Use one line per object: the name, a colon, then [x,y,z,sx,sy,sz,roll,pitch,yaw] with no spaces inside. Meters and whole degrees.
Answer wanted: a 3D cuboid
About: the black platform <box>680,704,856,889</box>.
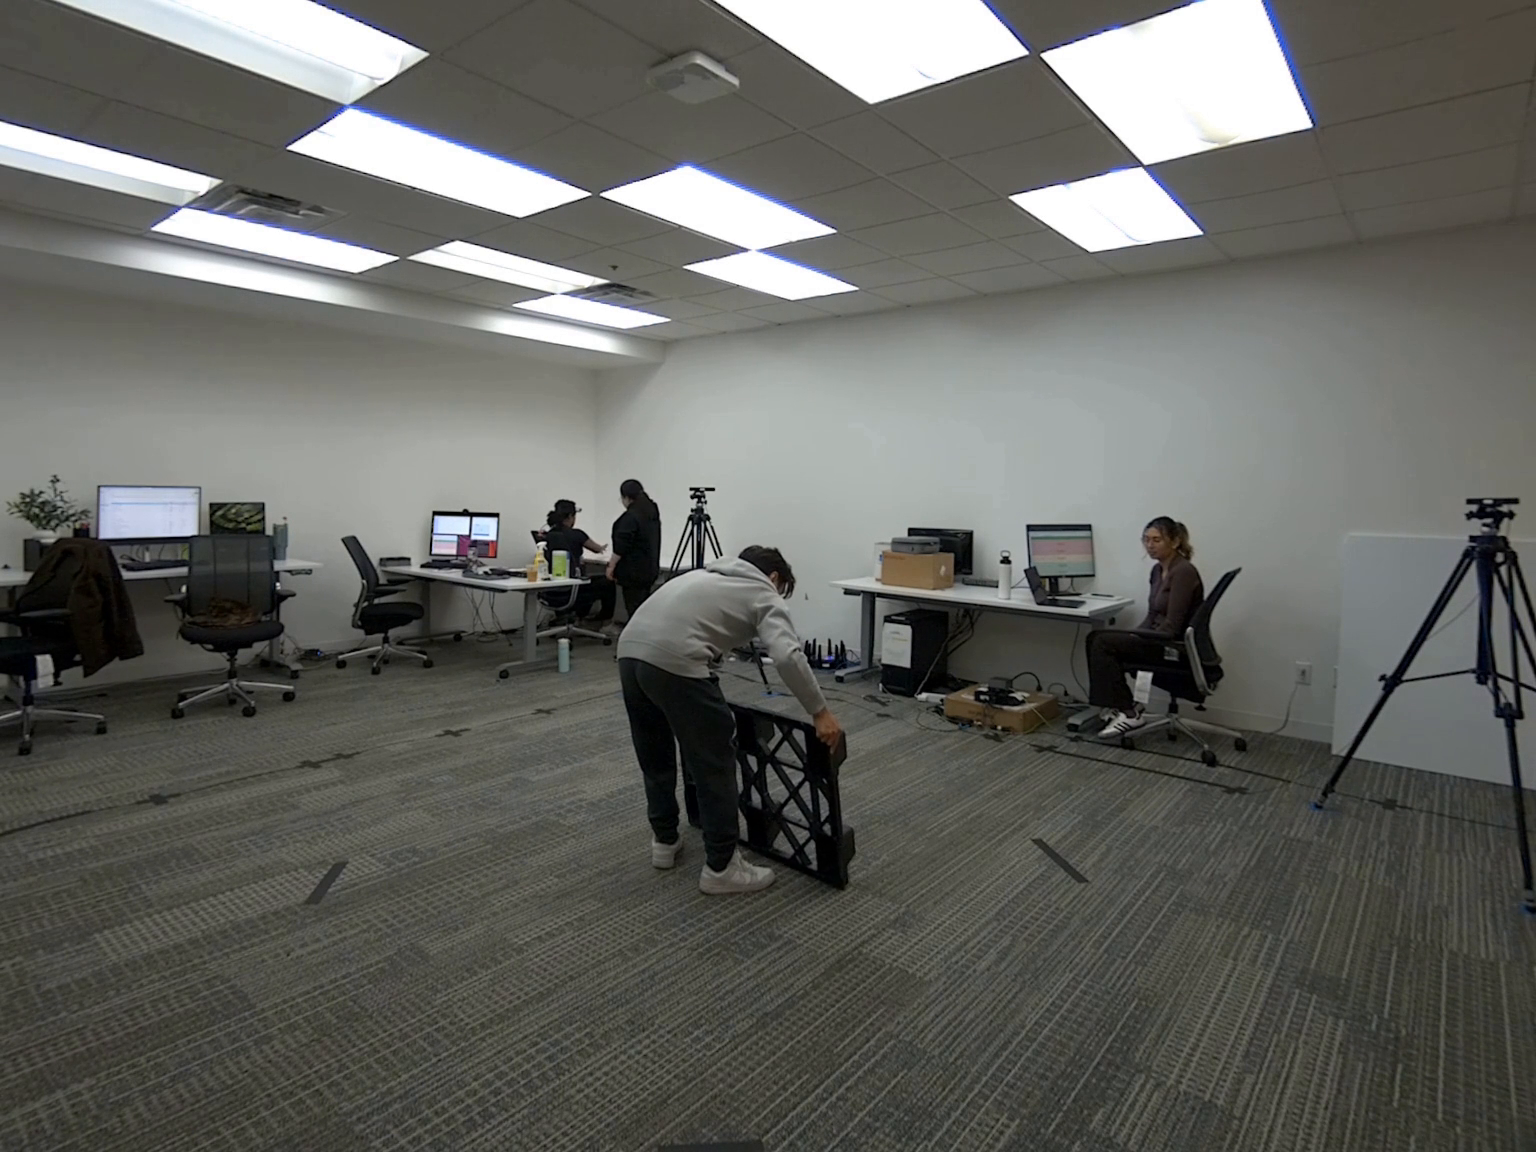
black platform: [-0.027,0.743,3.240,0.833,0.598,0.140,5,16,44]
